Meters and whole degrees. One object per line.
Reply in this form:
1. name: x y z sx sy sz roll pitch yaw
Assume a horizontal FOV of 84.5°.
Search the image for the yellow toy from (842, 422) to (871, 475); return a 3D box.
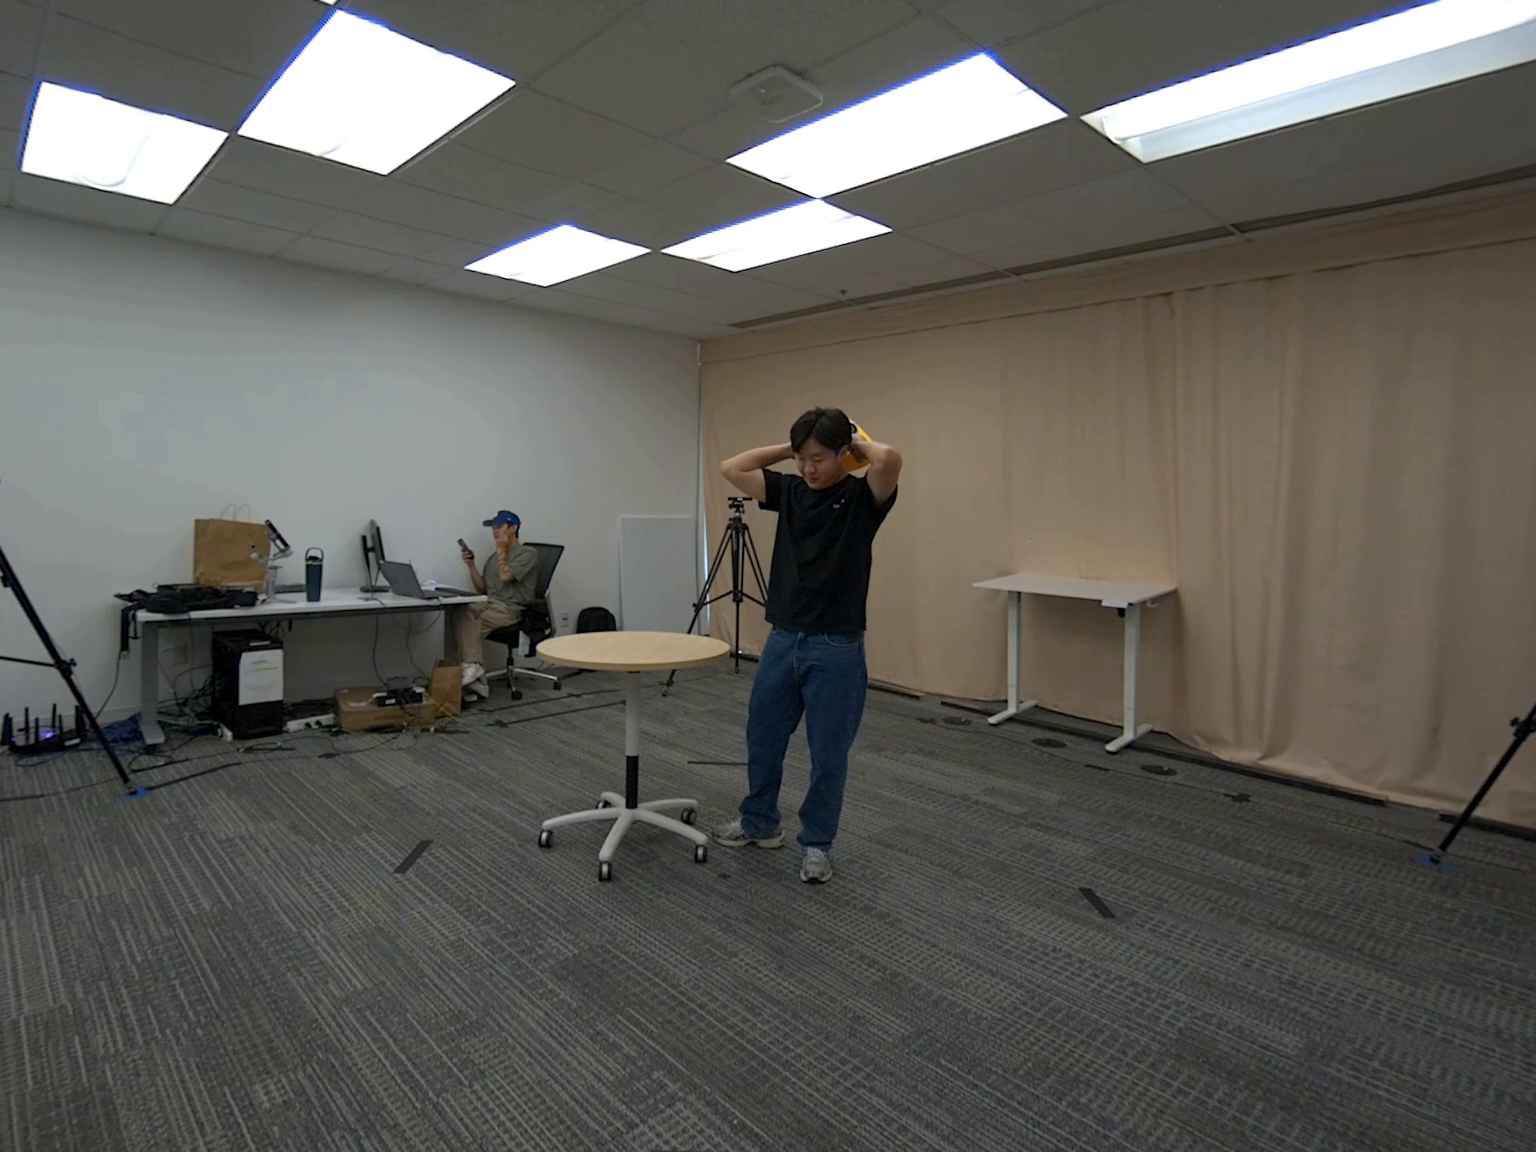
1. yellow toy: 0.266 -0.523 3.180 0.208 0.233 0.188 -16 -17 35
